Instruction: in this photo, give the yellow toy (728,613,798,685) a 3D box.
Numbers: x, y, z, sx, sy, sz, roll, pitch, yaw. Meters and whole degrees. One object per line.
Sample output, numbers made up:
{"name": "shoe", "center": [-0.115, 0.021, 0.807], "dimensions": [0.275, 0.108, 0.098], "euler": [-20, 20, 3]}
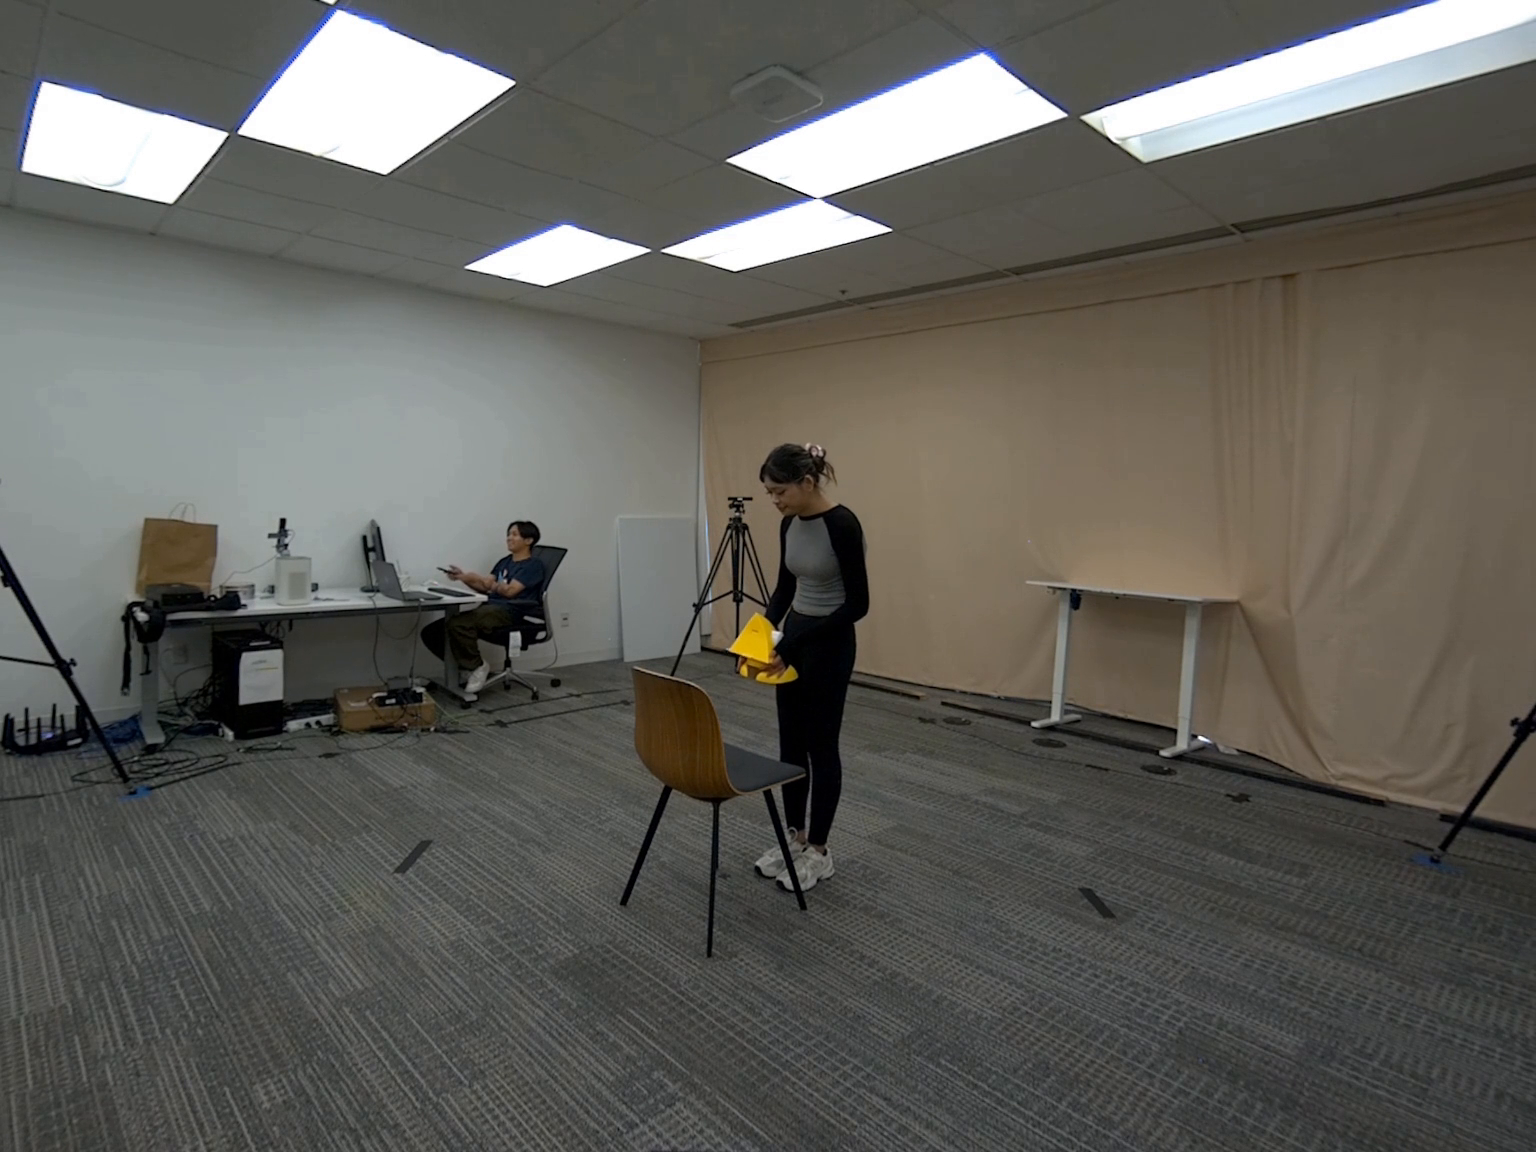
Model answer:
{"name": "yellow toy", "center": [-0.010, 0.240, 2.944], "dimensions": [0.189, 0.230, 0.210], "euler": [-3, 6, -41]}
